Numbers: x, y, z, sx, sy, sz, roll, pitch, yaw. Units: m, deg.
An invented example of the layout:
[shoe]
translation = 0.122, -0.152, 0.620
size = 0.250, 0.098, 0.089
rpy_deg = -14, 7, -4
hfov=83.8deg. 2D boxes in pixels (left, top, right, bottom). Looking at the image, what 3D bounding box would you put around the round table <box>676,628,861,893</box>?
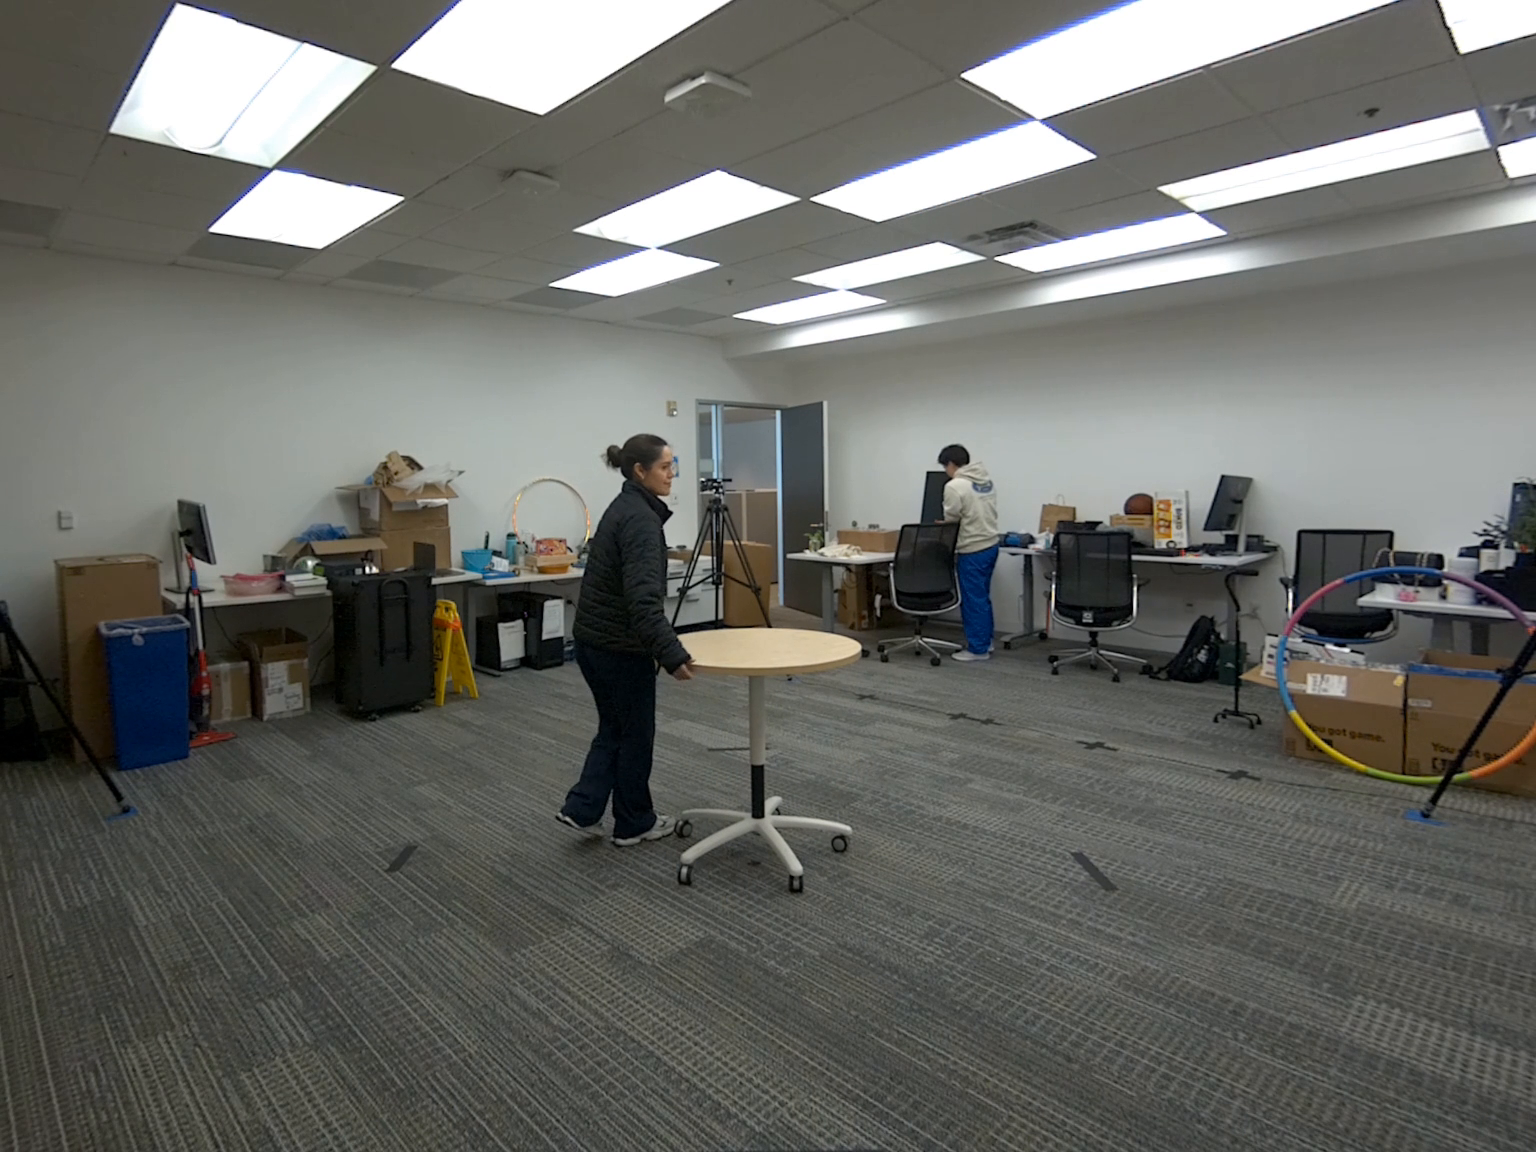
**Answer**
[round table]
translation = -0.033, 0.641, 3.176
size = 0.784, 0.784, 0.789
rpy_deg = -1, 5, -2
